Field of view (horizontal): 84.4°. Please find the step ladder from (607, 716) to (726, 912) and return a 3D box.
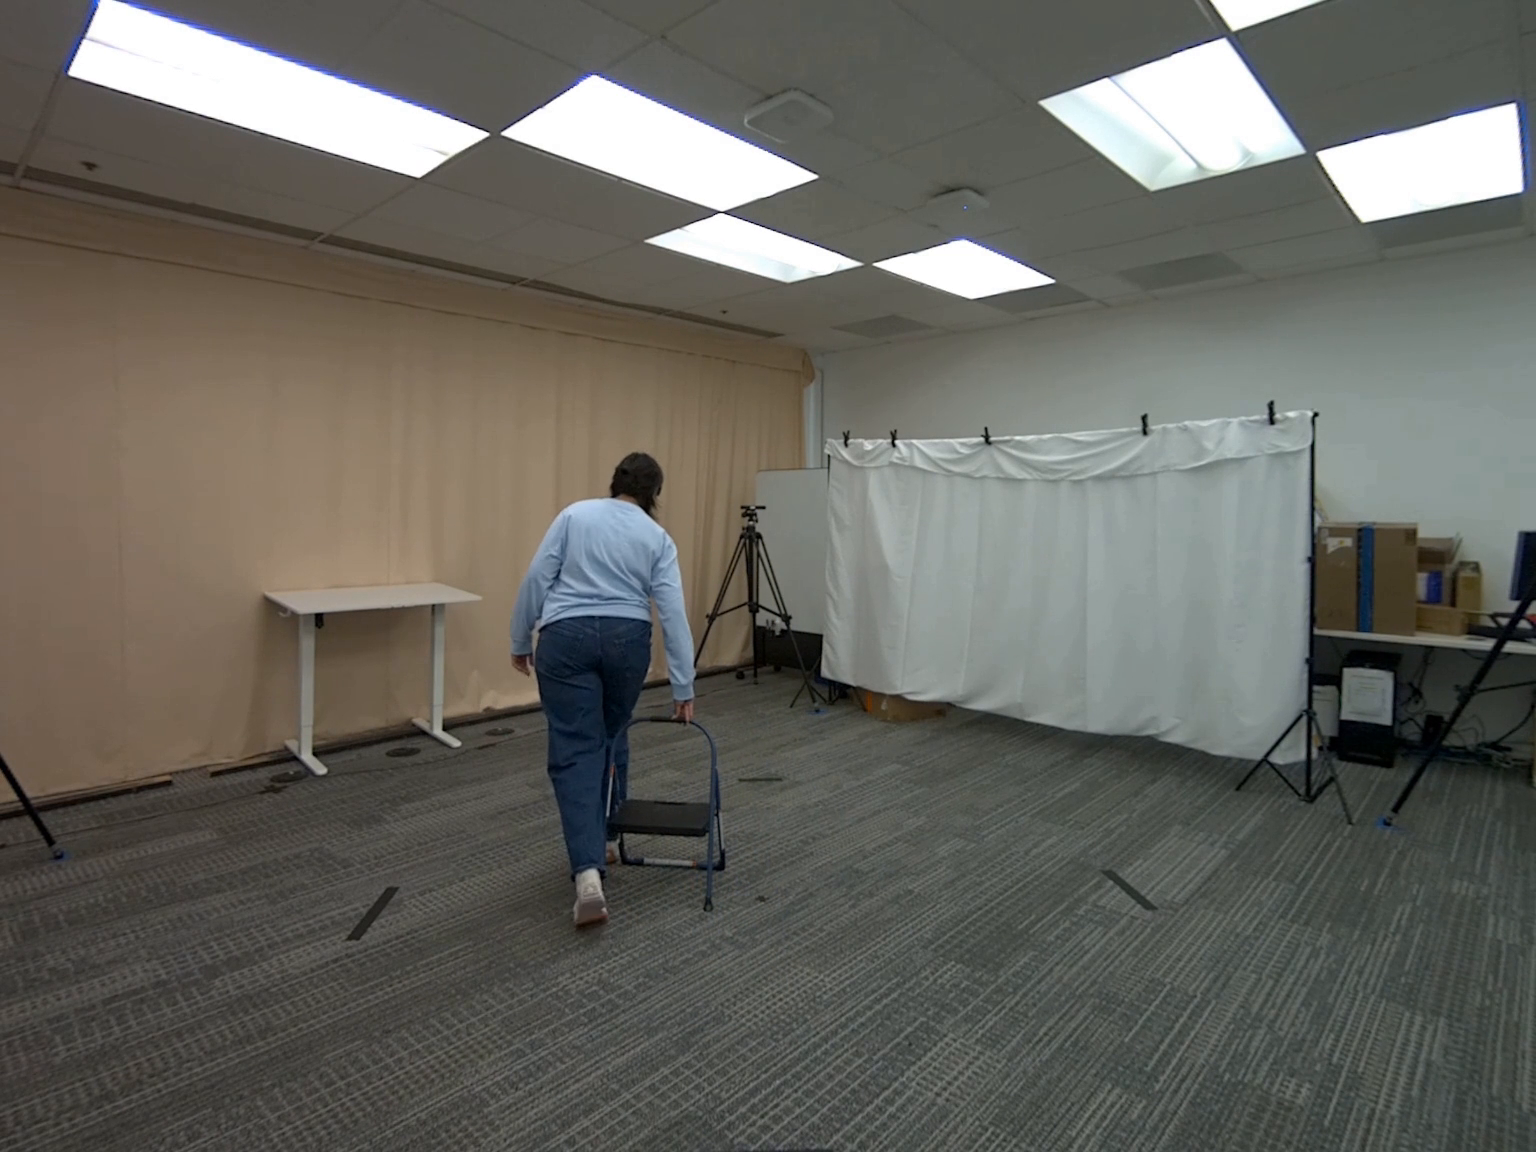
[{"bbox_3d":[-0.380,0.840,3.092,0.435,0.605,0.347,1,3,8],"label":"step ladder"}]
